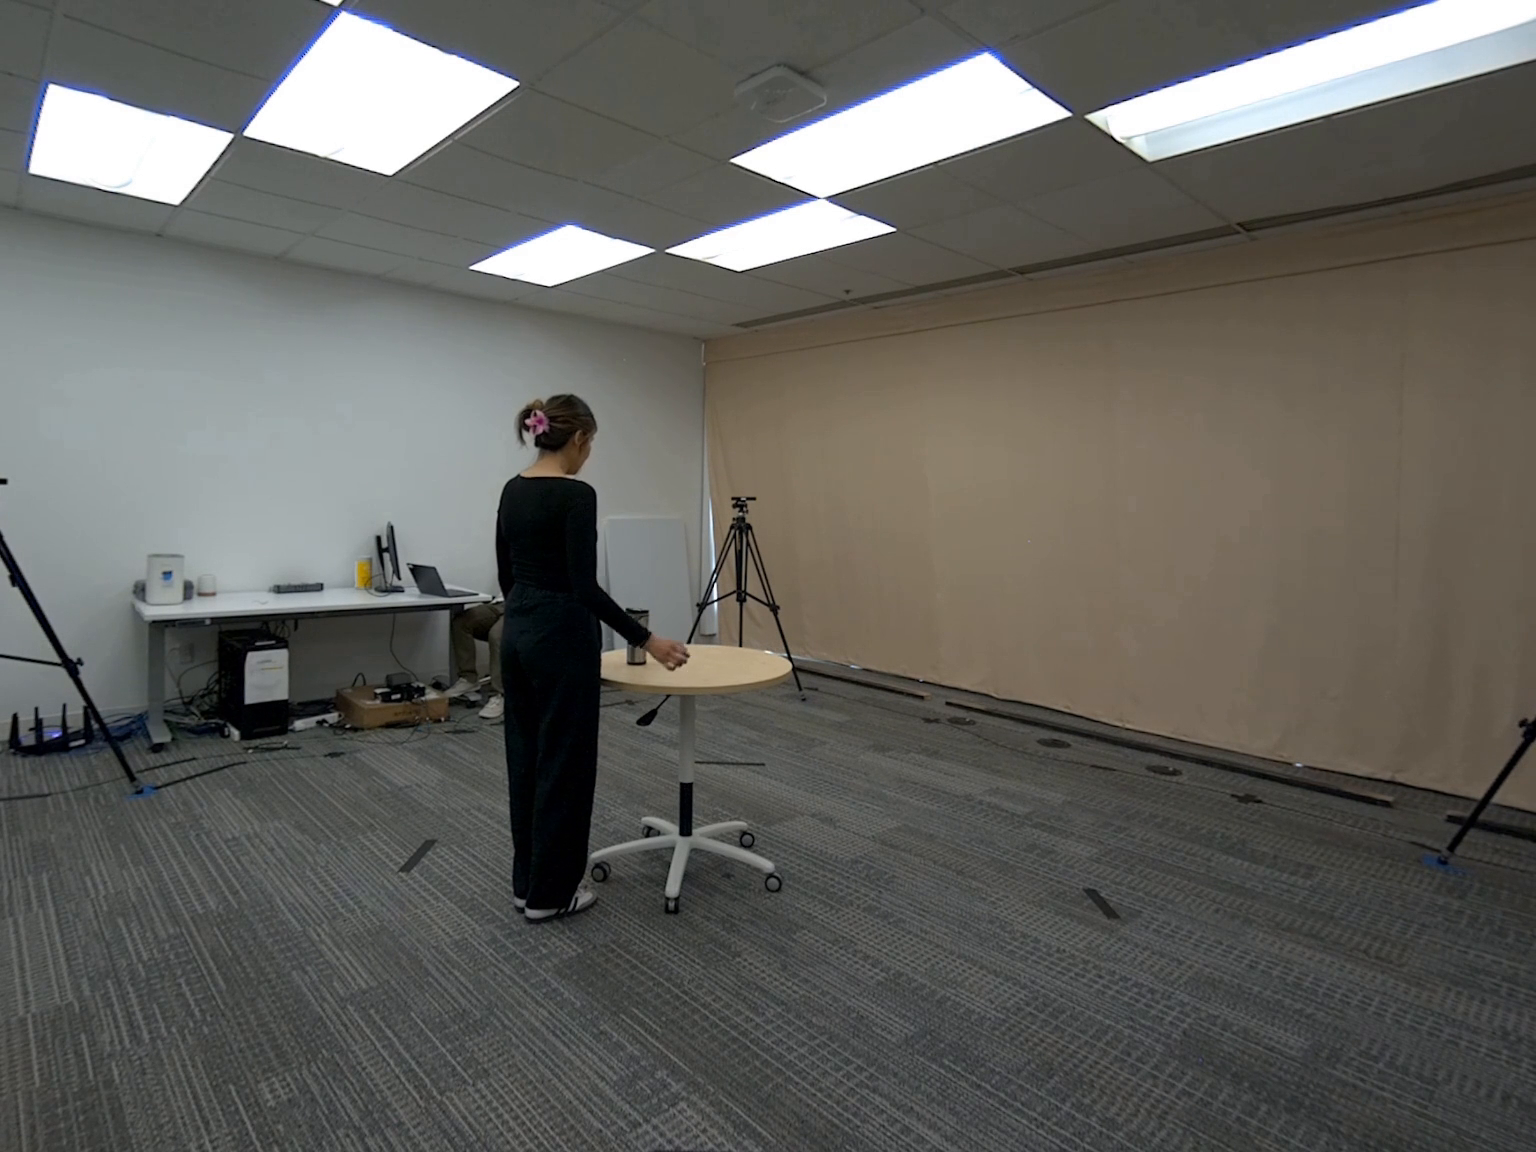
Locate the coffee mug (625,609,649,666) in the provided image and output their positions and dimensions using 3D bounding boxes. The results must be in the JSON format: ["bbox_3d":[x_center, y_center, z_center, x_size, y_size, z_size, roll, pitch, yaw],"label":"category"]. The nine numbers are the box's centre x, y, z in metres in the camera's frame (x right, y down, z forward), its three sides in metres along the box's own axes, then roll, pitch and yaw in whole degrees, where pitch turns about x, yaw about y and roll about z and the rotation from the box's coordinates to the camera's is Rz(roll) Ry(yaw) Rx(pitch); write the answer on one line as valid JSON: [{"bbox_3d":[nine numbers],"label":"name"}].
[{"bbox_3d":[-0.500,0.224,3.052,0.119,0.202,0.090,1,5,-44],"label":"coffee mug"}]
